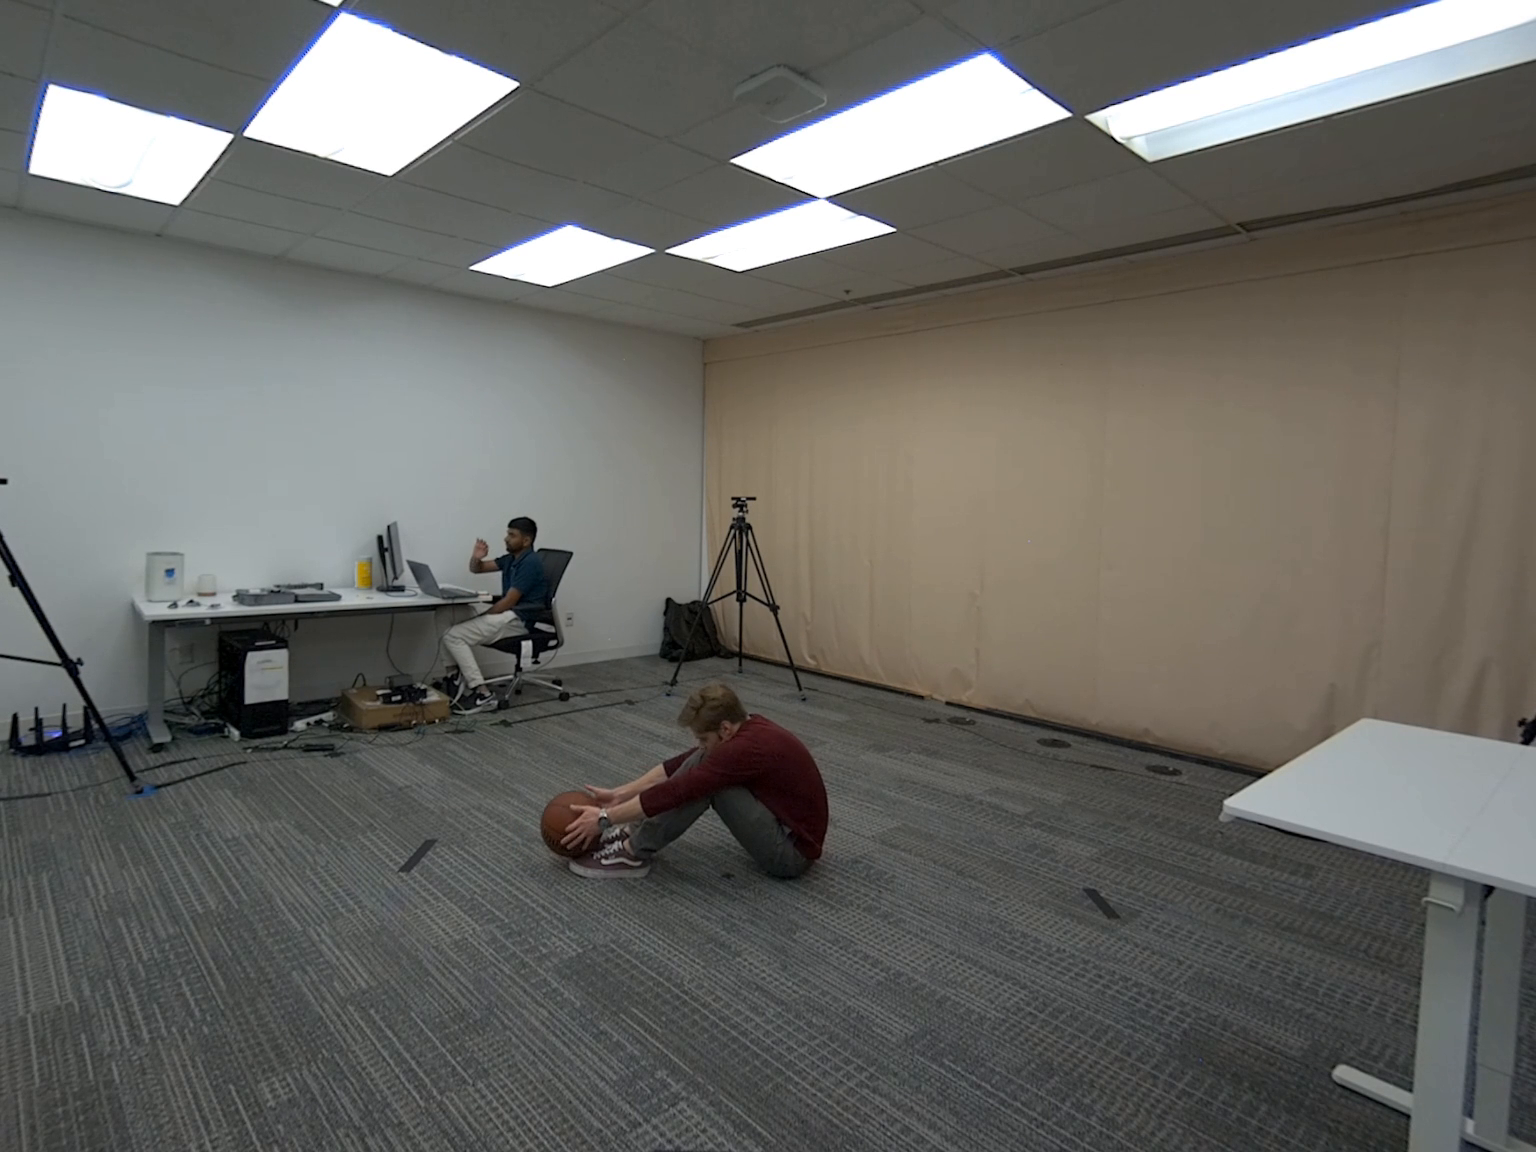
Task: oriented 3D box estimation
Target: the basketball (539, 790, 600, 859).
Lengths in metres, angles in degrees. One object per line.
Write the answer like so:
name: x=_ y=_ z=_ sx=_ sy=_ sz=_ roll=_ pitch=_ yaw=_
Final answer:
basketball: x=-0.739 y=0.925 z=3.158 sx=0.236 sy=0.235 sz=0.237 roll=1 pitch=4 yaw=-1
